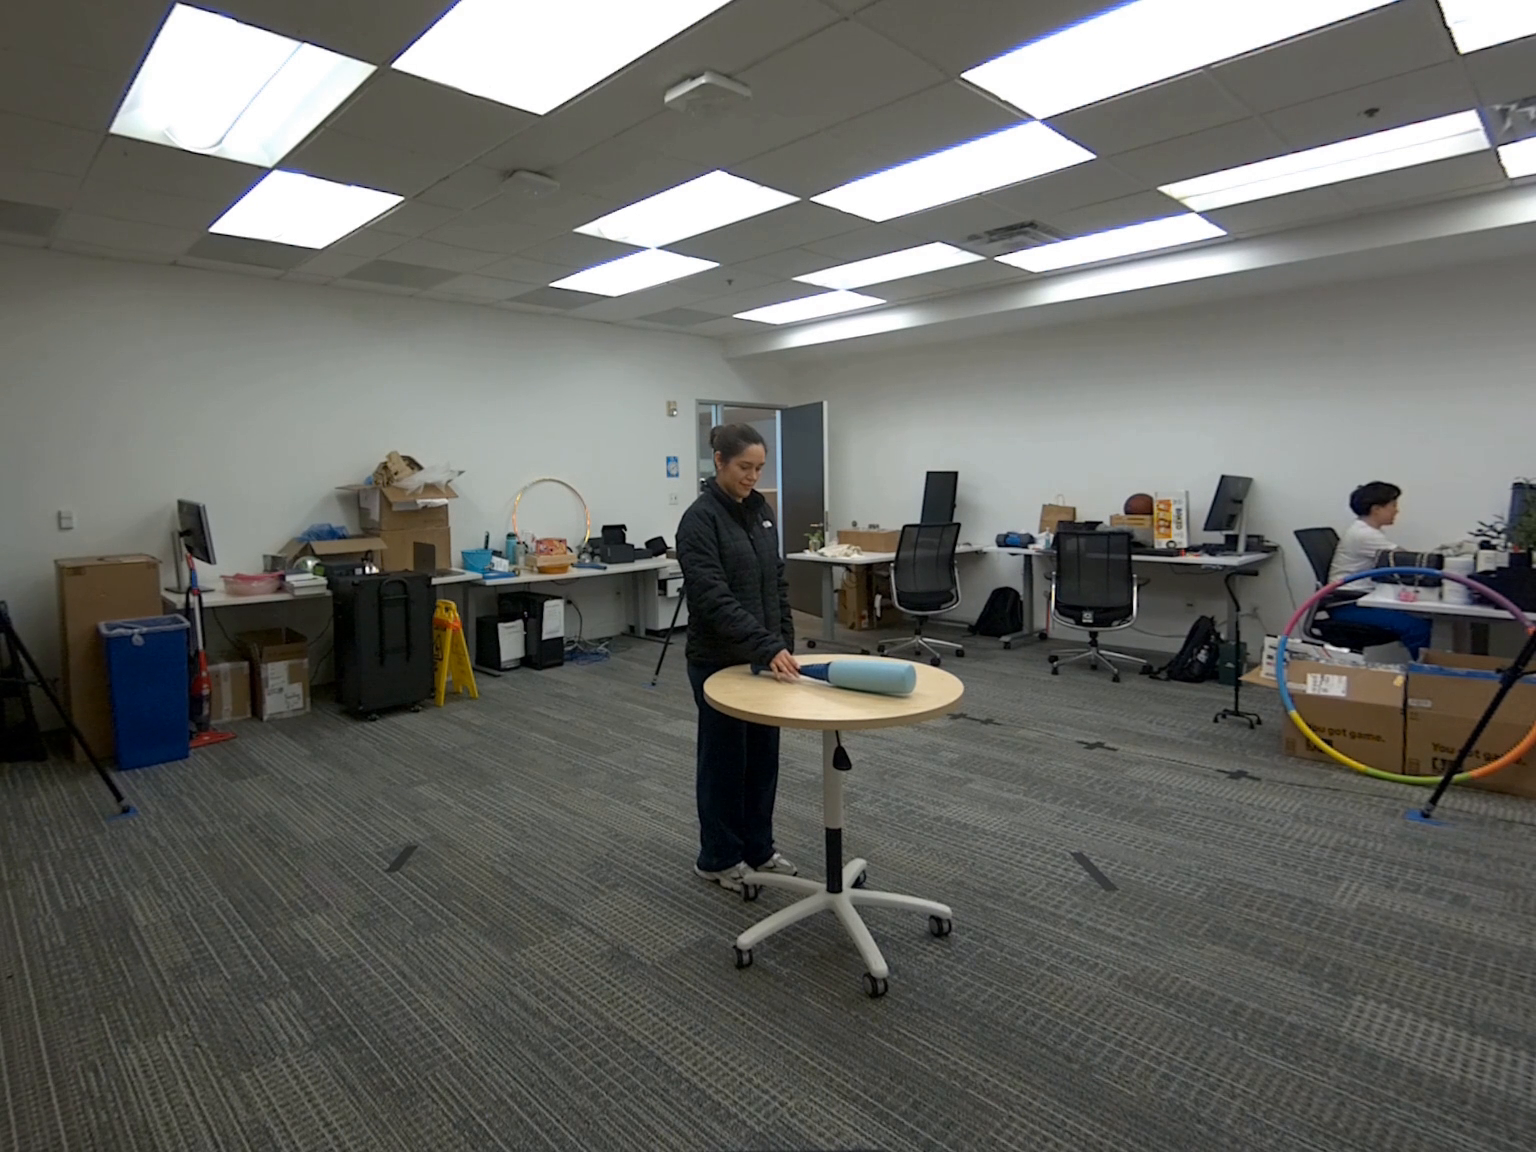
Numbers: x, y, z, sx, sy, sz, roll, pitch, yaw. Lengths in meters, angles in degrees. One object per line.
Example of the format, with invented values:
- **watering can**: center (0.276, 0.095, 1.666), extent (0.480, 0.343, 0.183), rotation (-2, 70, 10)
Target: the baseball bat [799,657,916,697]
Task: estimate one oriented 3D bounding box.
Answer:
- **baseball bat**: center (0.180, 0.287, 2.542), extent (0.558, 0.089, 0.087), rotation (0, 4, 35)
